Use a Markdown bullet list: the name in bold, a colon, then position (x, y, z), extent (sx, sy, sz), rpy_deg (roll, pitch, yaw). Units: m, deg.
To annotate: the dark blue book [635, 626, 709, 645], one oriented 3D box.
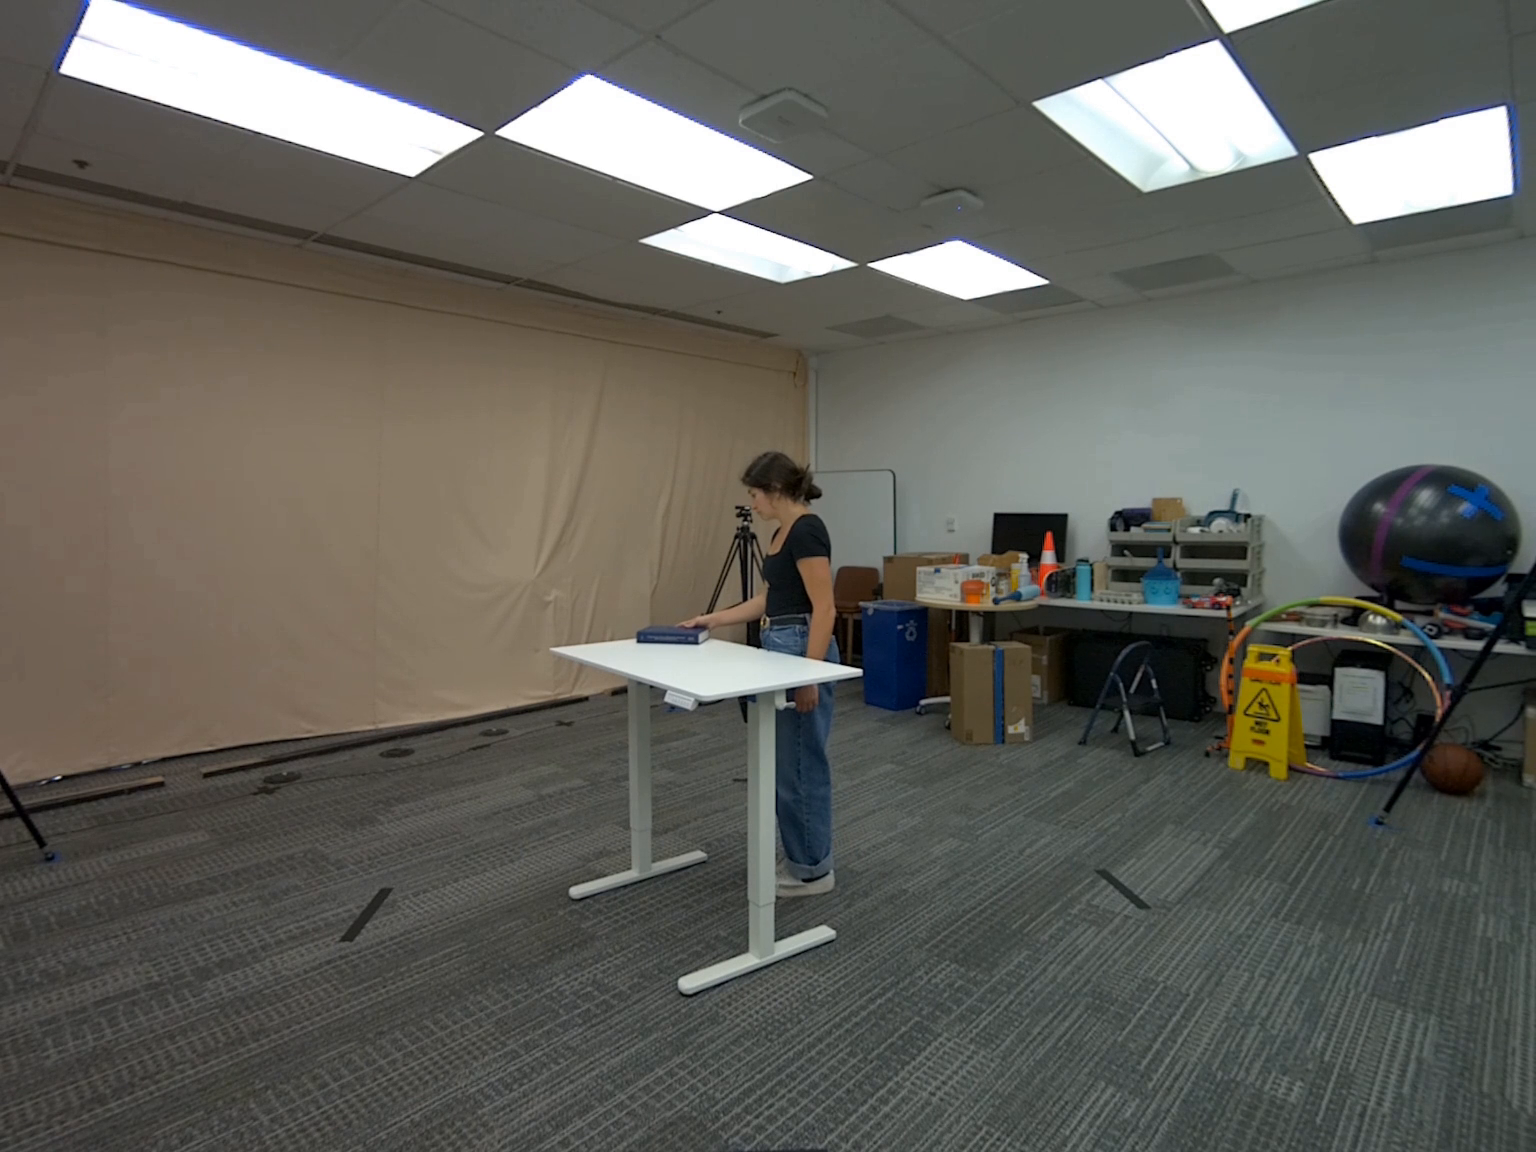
- **dark blue book**: position (-0.362, 0.232, 3.209), extent (0.249, 0.045, 0.161), rpy_deg (1, 3, 13)
